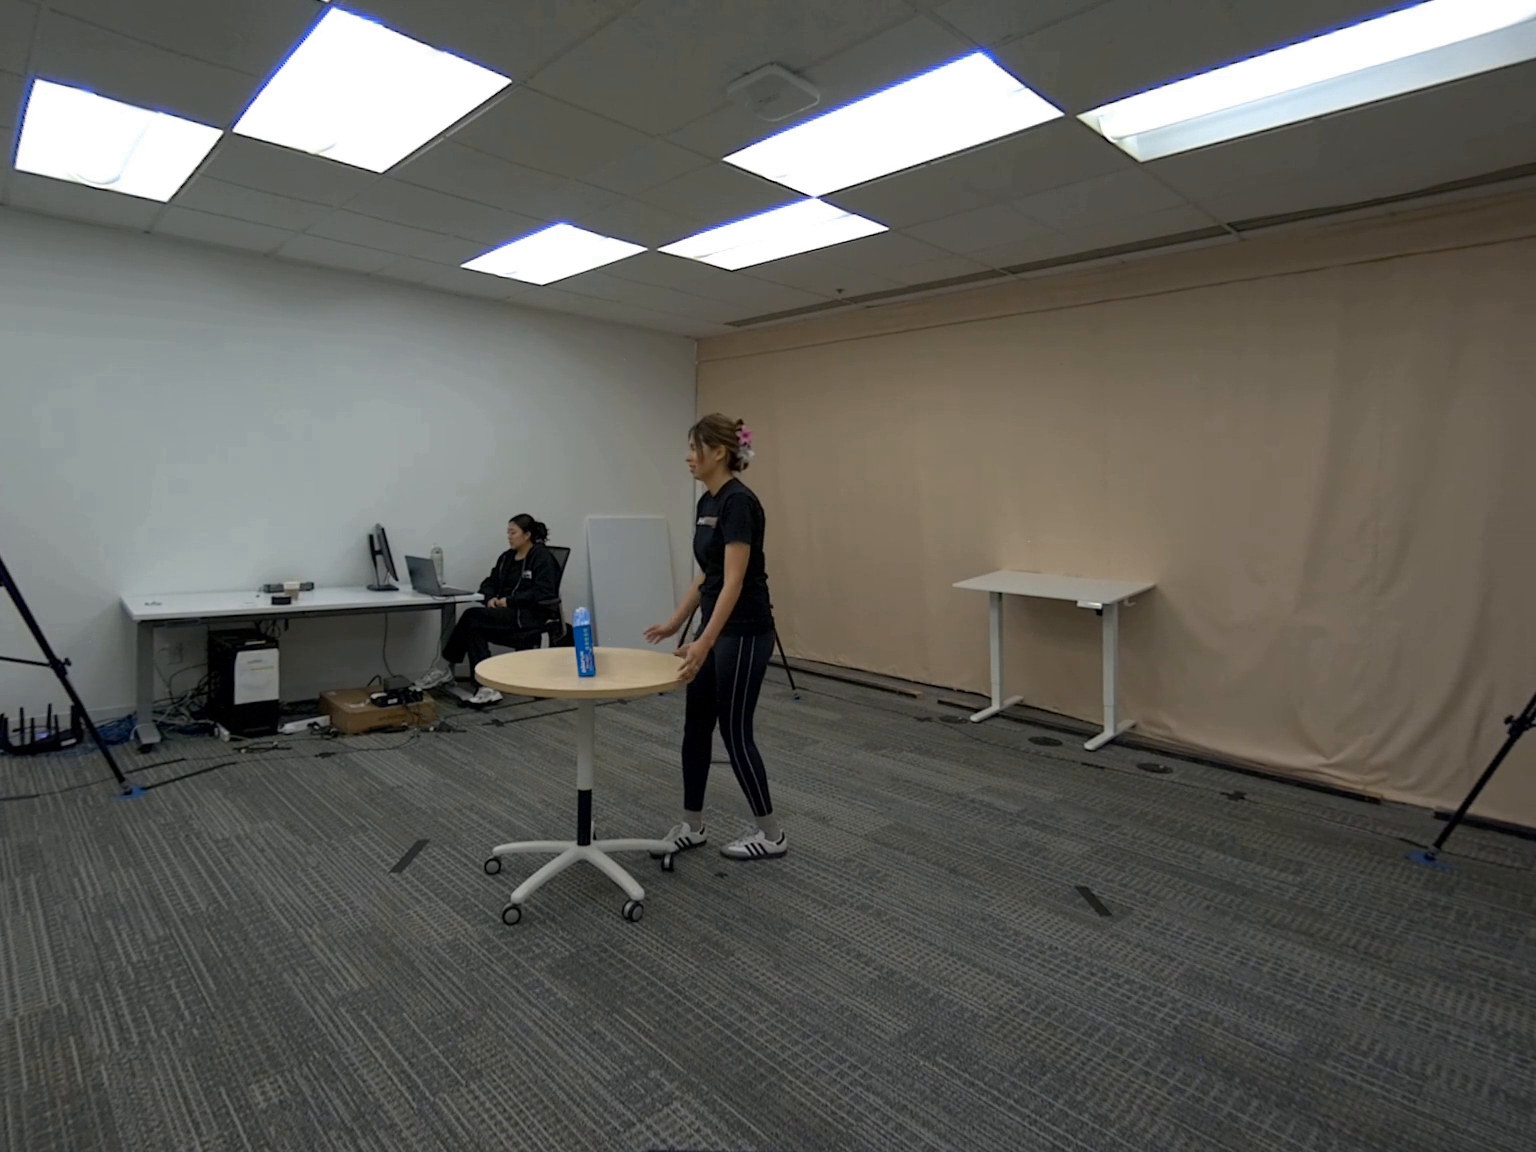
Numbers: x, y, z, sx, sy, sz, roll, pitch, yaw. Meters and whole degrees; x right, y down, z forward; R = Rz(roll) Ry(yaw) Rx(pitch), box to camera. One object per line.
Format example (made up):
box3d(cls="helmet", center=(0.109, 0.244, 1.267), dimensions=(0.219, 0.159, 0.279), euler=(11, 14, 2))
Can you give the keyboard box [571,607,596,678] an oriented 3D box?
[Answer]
box3d(cls="keyboard box", center=(-0.666, 0.229, 2.999), dimensions=(0.058, 0.175, 0.442), euler=(-5, 7, -12))
